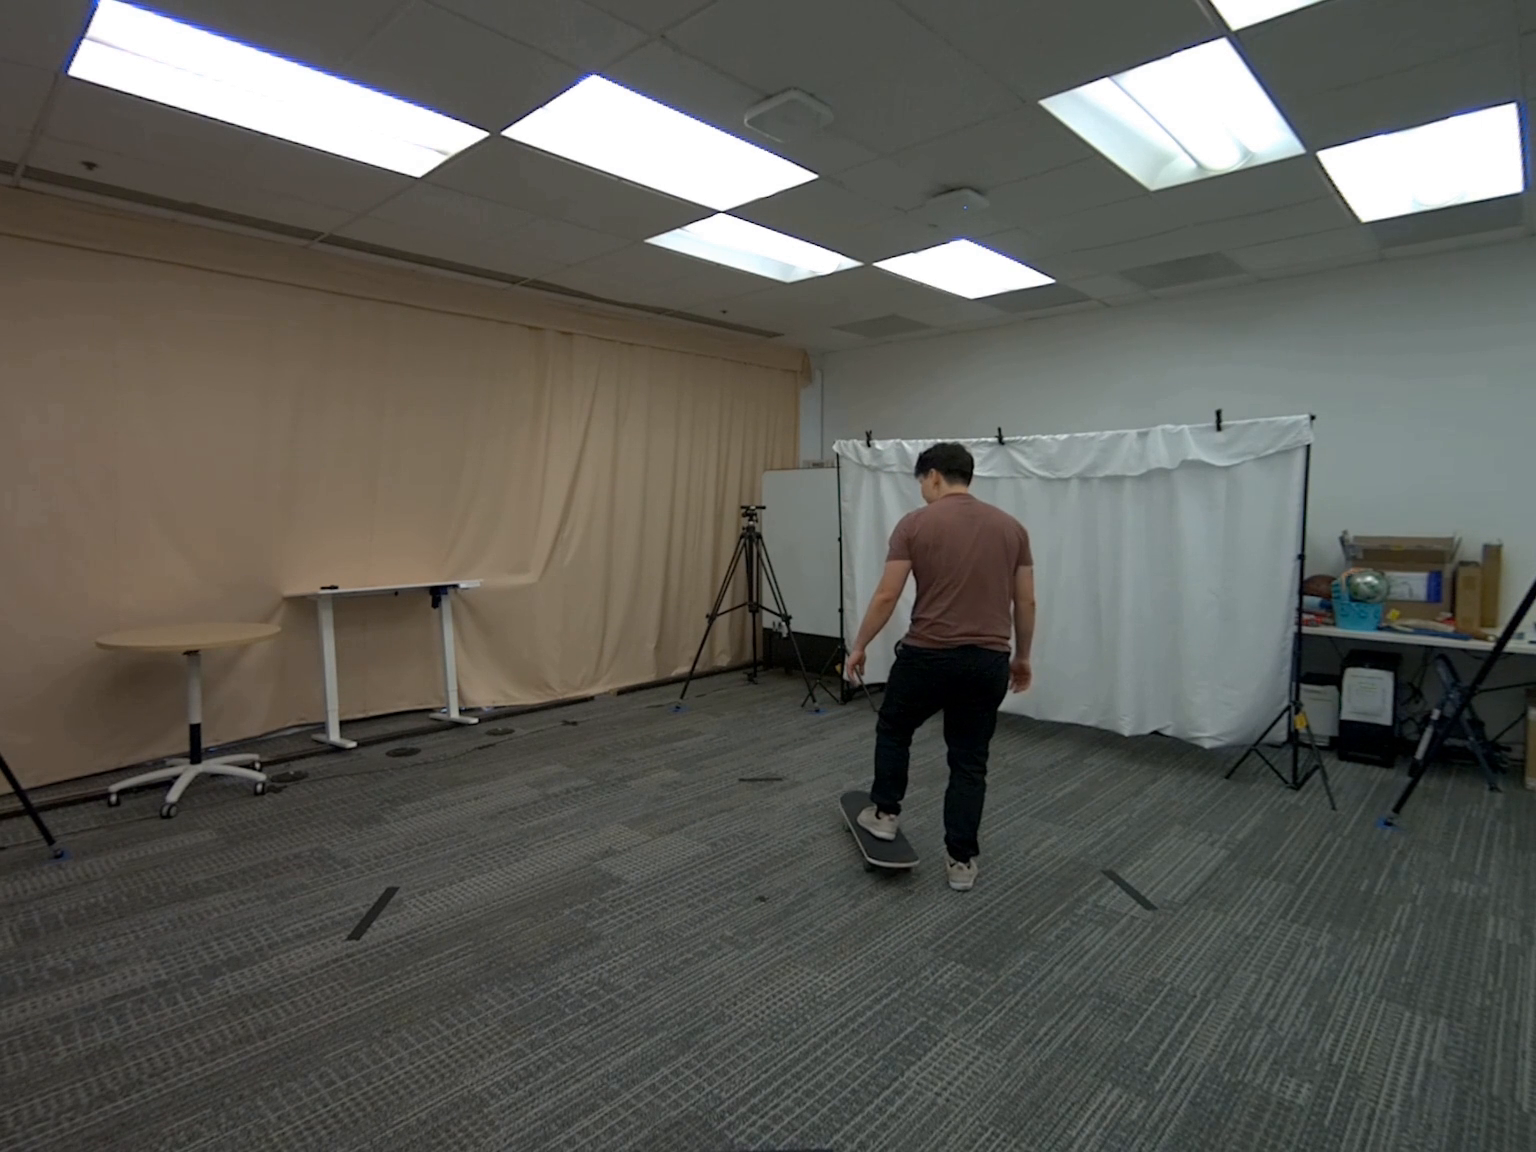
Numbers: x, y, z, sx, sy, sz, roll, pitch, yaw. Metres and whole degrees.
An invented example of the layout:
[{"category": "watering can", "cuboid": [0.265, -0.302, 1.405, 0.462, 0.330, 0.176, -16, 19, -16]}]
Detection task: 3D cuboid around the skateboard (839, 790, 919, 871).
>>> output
[{"category": "skateboard", "cuboid": [0.438, 1.054, 3.406, 0.193, 0.110, 0.790, -1, 5, -5]}]
